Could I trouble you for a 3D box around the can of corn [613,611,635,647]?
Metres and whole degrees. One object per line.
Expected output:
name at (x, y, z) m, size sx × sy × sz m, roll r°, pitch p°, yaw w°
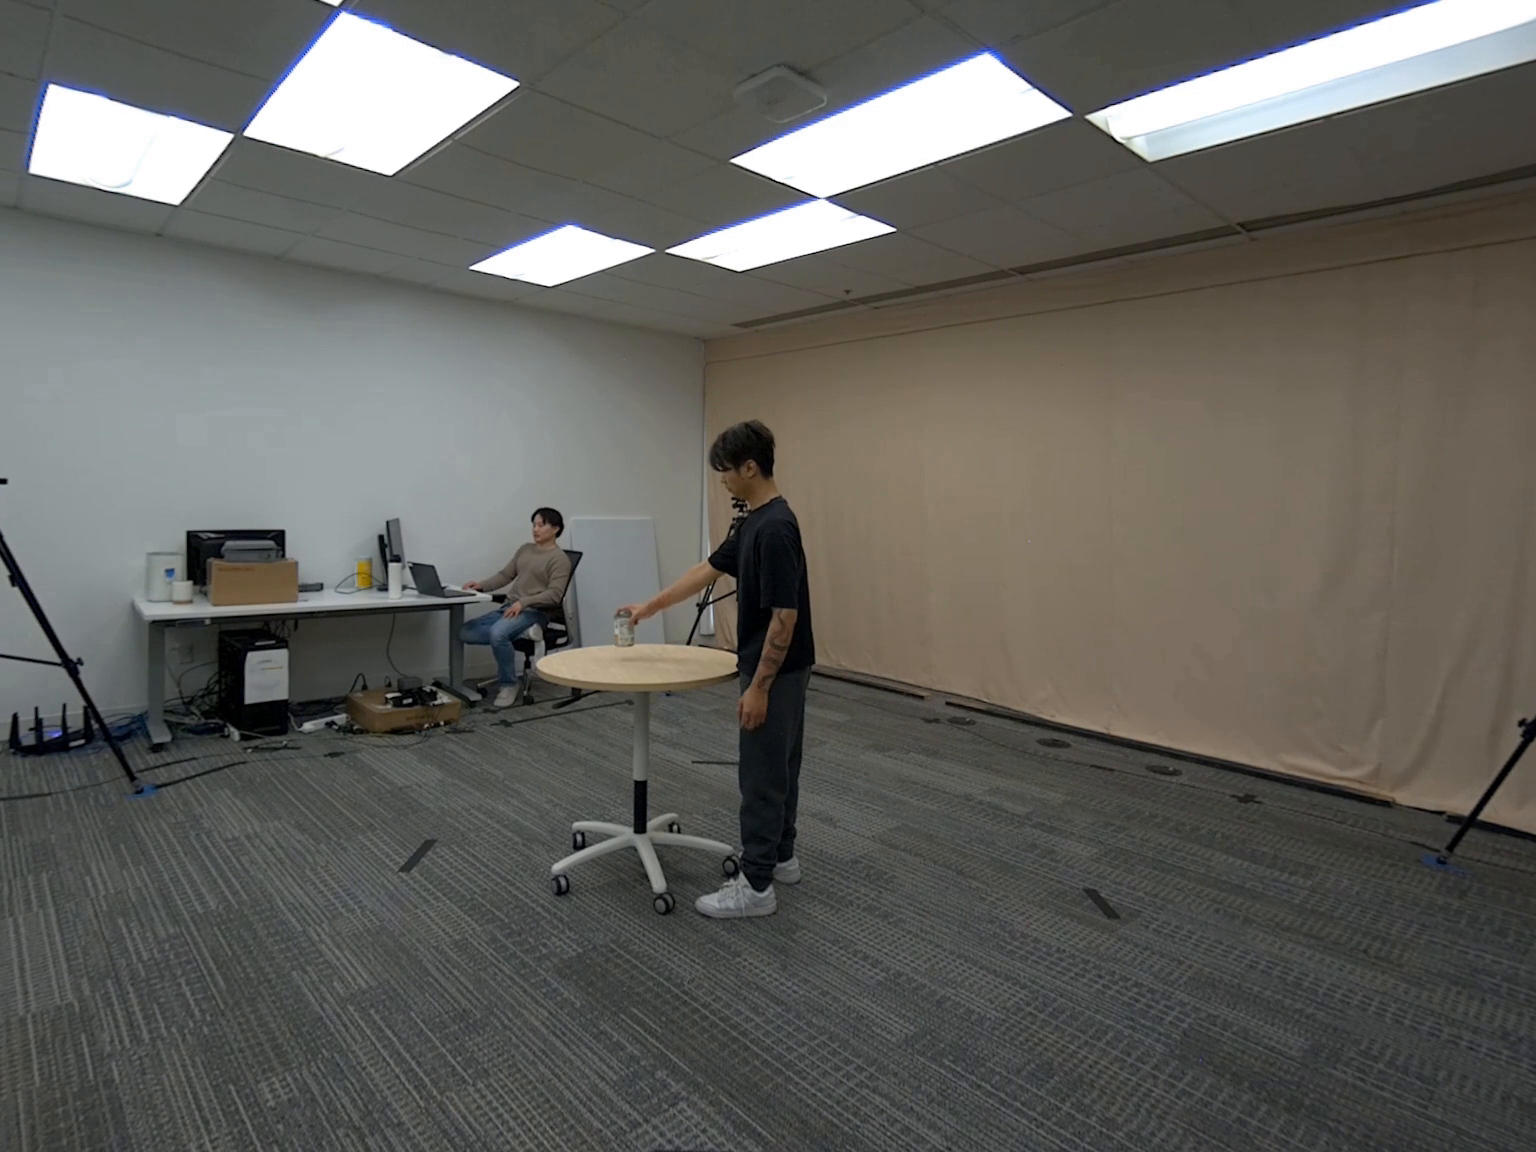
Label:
can of corn at (-0.532, 0.203, 3.137) m, size 0.074 × 0.111 × 0.074 m, roll 2°, pitch 0°, yaw -1°
